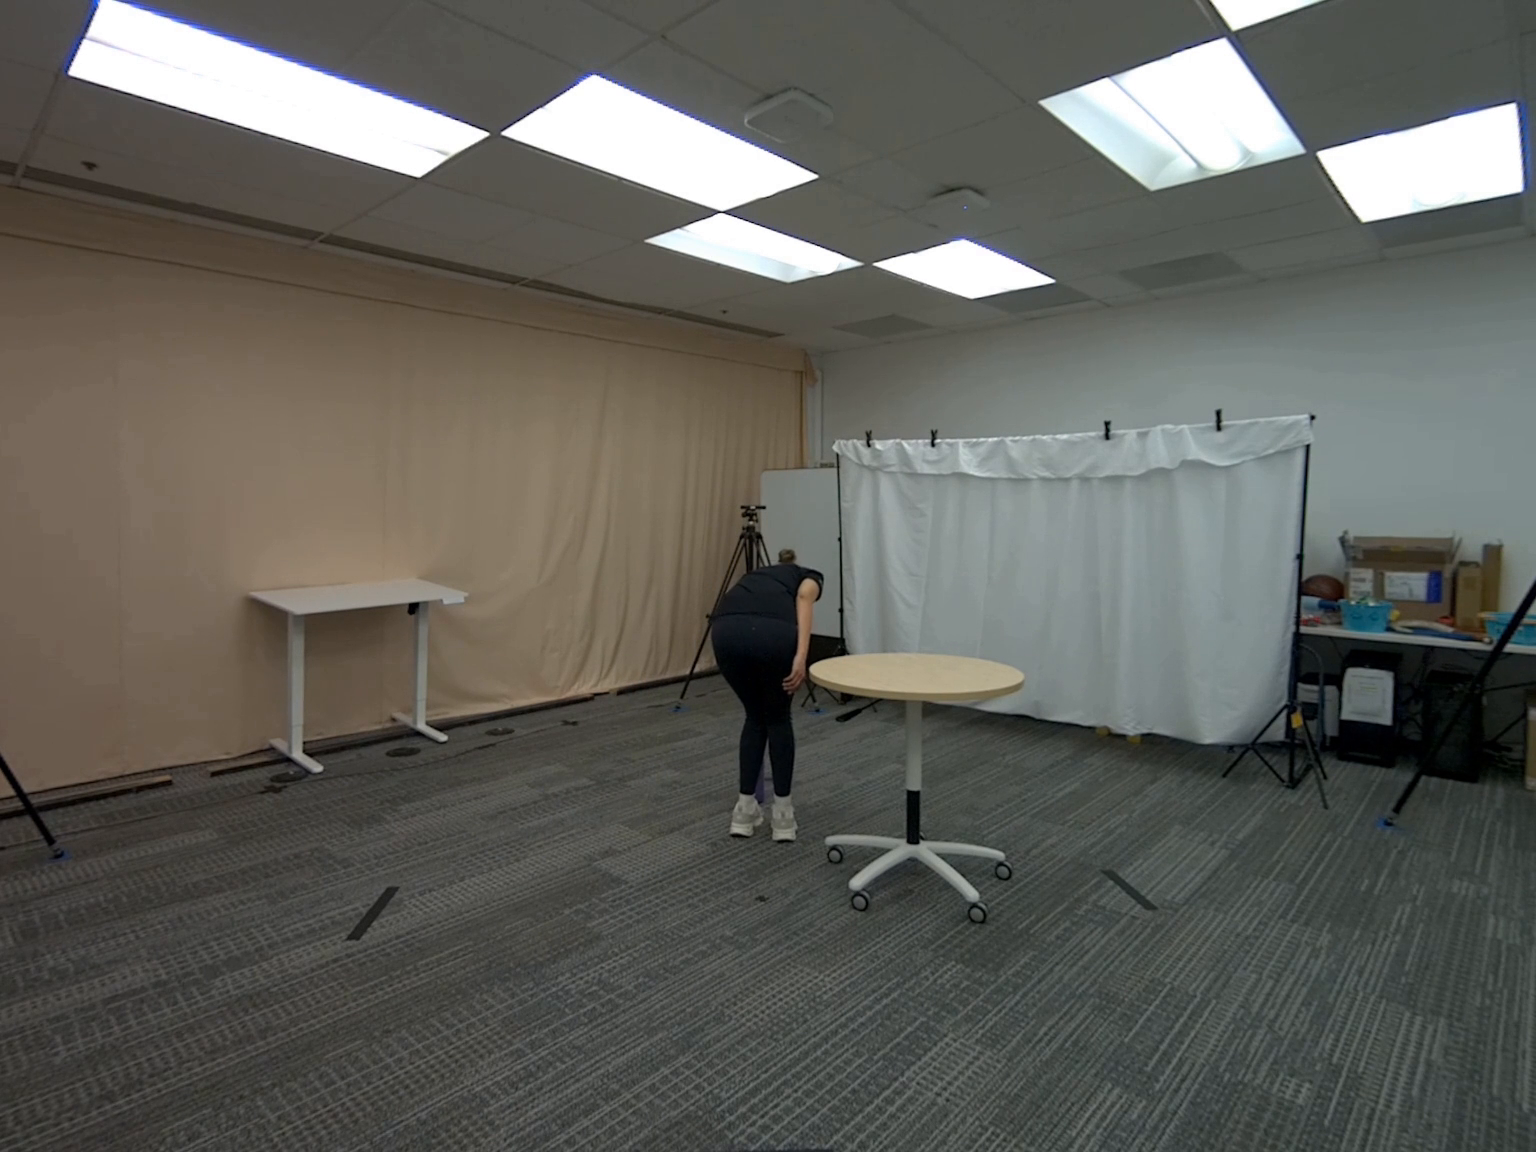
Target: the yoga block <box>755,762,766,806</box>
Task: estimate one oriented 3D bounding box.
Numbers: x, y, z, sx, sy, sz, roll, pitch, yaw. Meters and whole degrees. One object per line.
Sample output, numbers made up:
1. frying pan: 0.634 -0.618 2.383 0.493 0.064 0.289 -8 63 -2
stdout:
1. yoga block: -0.058 0.944 4.007 0.076 0.229 0.149 -2 2 0
